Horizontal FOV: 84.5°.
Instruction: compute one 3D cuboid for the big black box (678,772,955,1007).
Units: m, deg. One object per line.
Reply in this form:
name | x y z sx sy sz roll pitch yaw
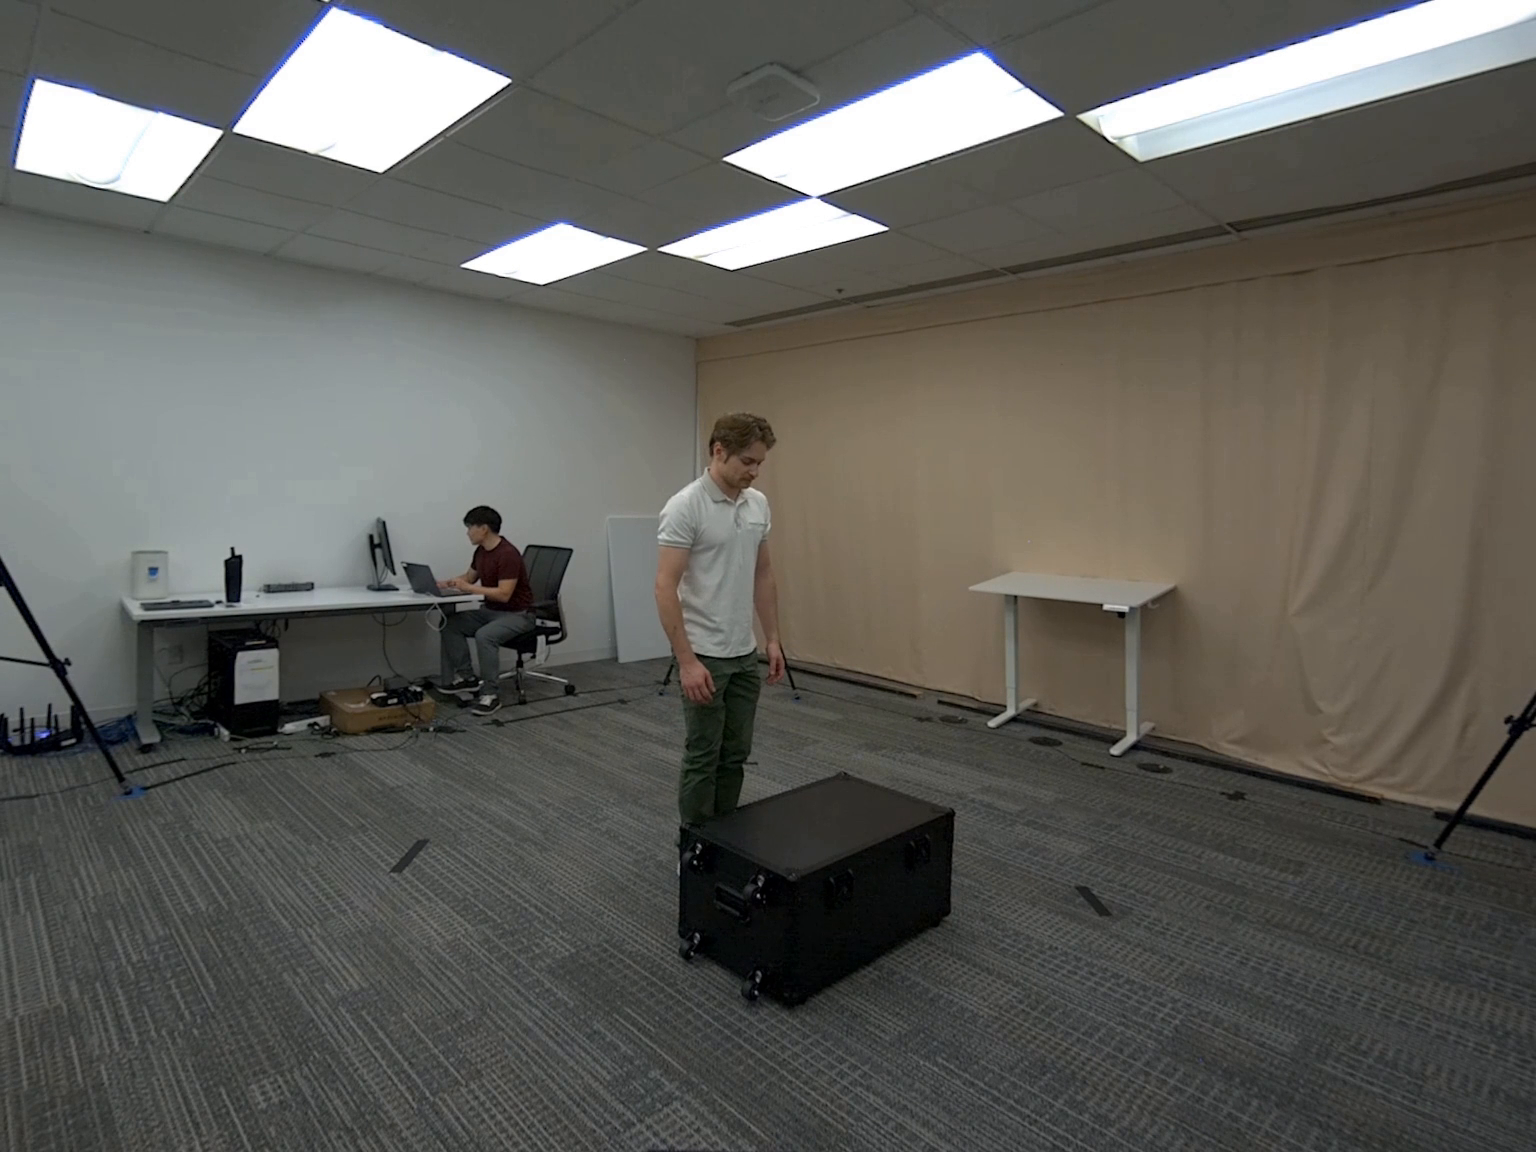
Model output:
big black box | 0.135 0.955 2.678 0.849 0.384 0.537 -4 8 -44
